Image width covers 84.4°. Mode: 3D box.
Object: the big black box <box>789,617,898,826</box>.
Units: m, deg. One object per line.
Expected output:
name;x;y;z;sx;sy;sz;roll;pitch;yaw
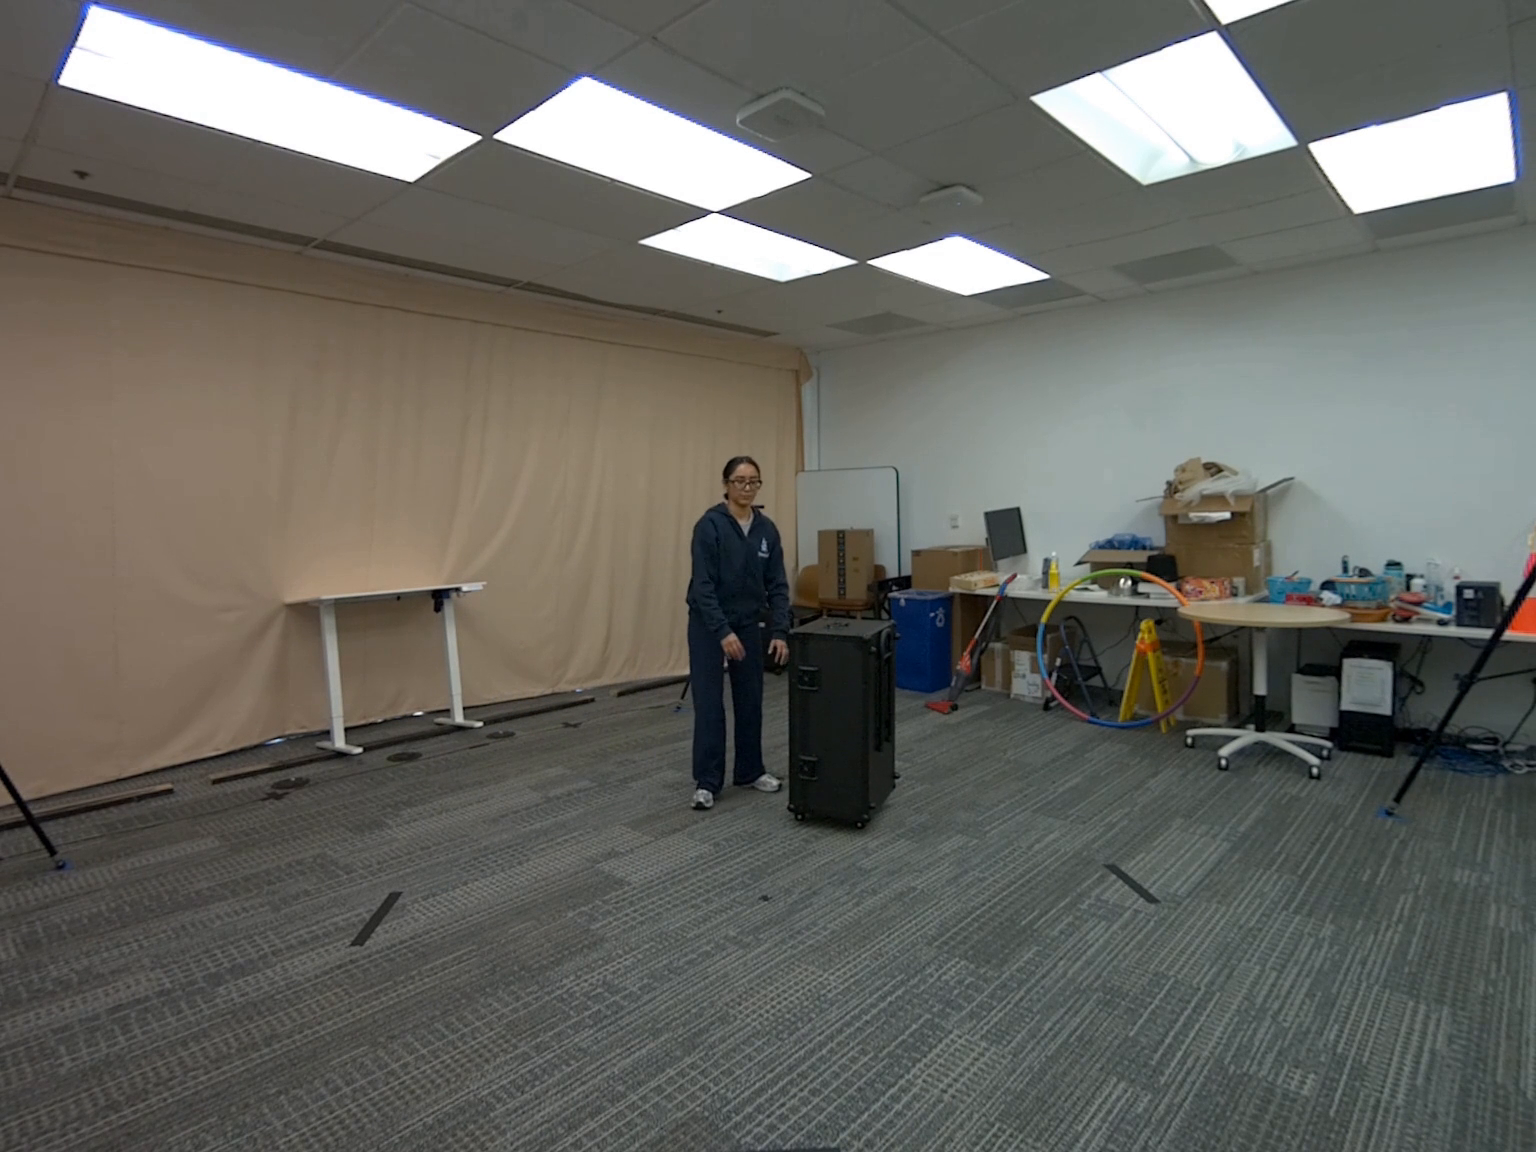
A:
big black box;0.357;0.645;3.753;0.406;0.859;0.509;3;5;24
